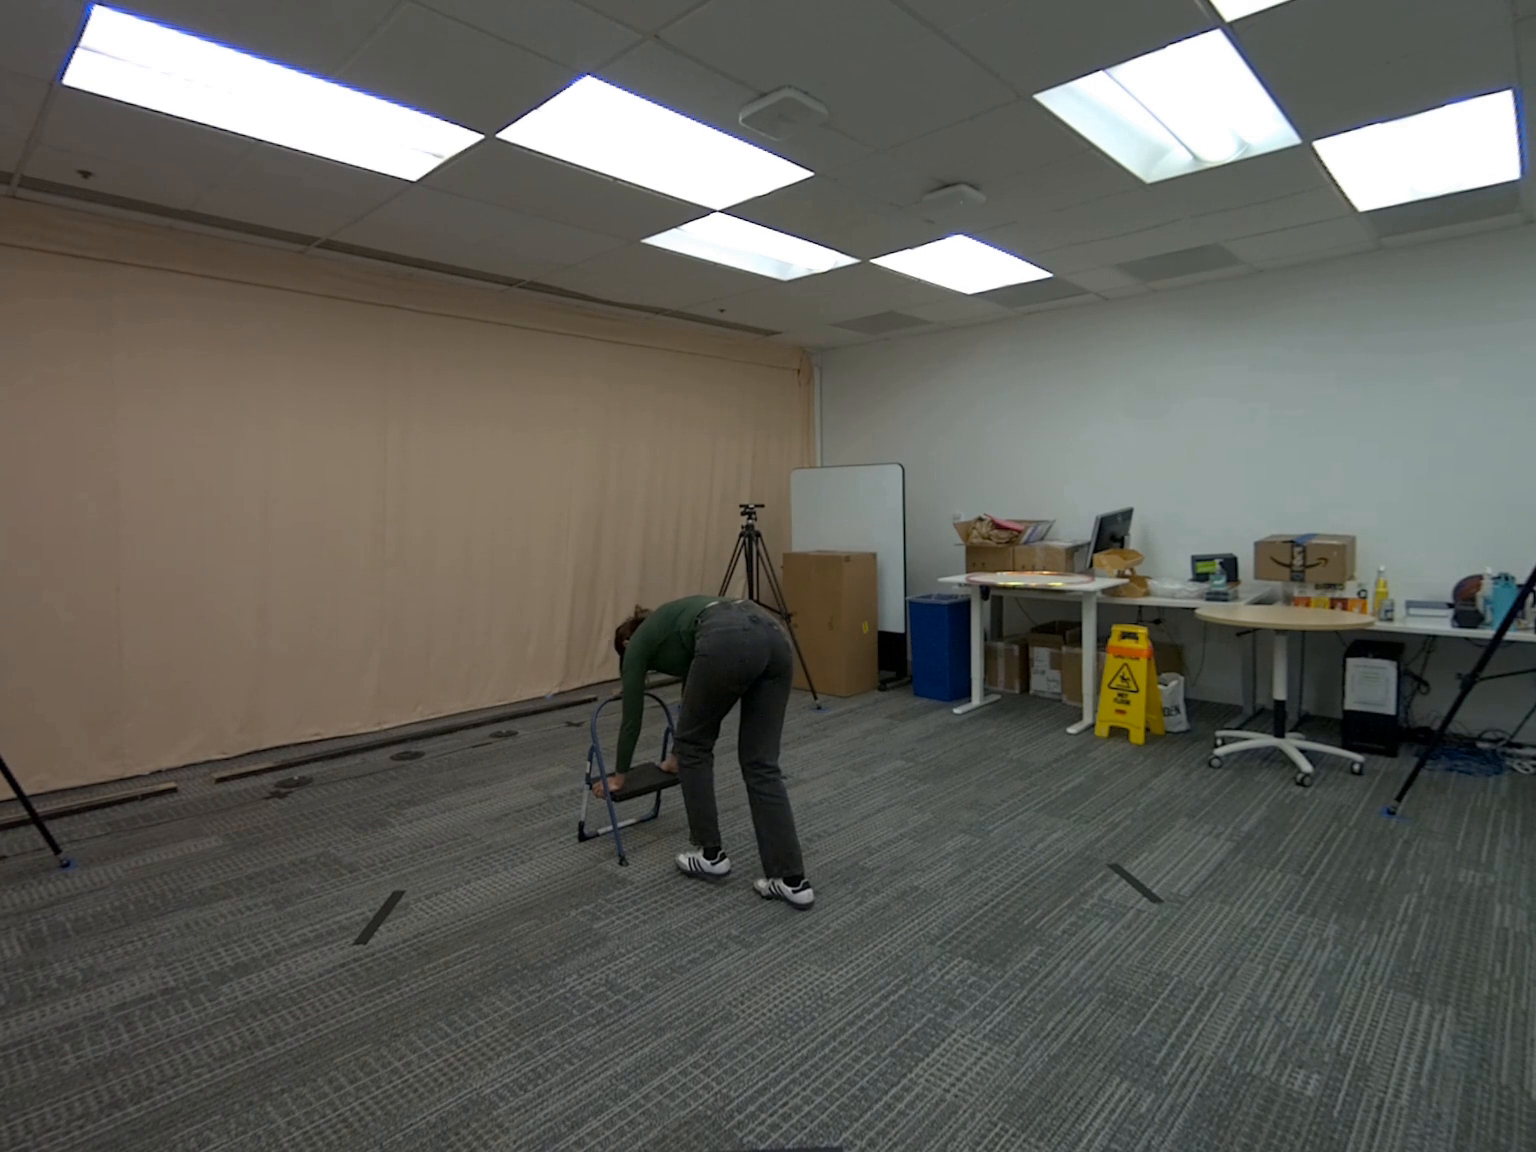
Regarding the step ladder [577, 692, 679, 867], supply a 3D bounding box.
[{"bbox_3d":[-0.538,0.805,3.524,0.417,0.605,0.361,-4,4,-43],"label":"step ladder"}]
